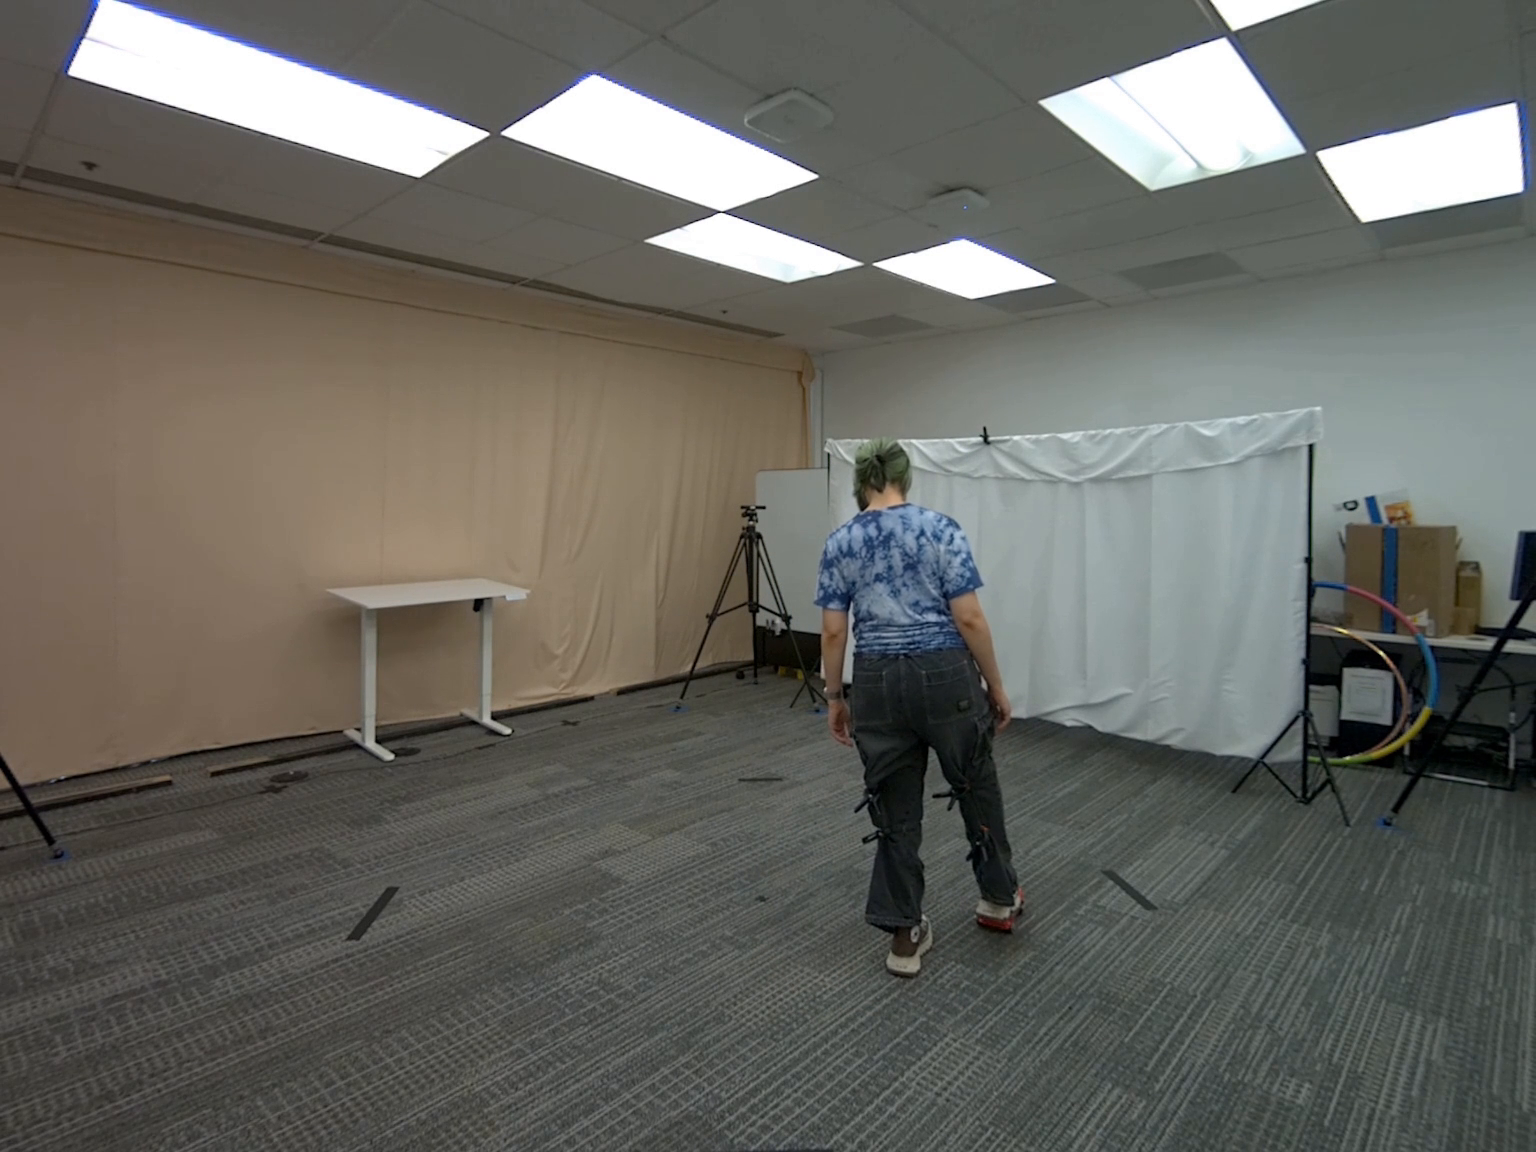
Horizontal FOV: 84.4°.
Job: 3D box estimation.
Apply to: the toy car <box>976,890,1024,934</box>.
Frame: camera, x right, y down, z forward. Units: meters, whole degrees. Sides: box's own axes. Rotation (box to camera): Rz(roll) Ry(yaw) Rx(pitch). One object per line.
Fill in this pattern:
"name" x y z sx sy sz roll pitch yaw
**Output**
"toy car" 0.803 1.126 2.848 0.134 0.082 0.250 5 18 29
